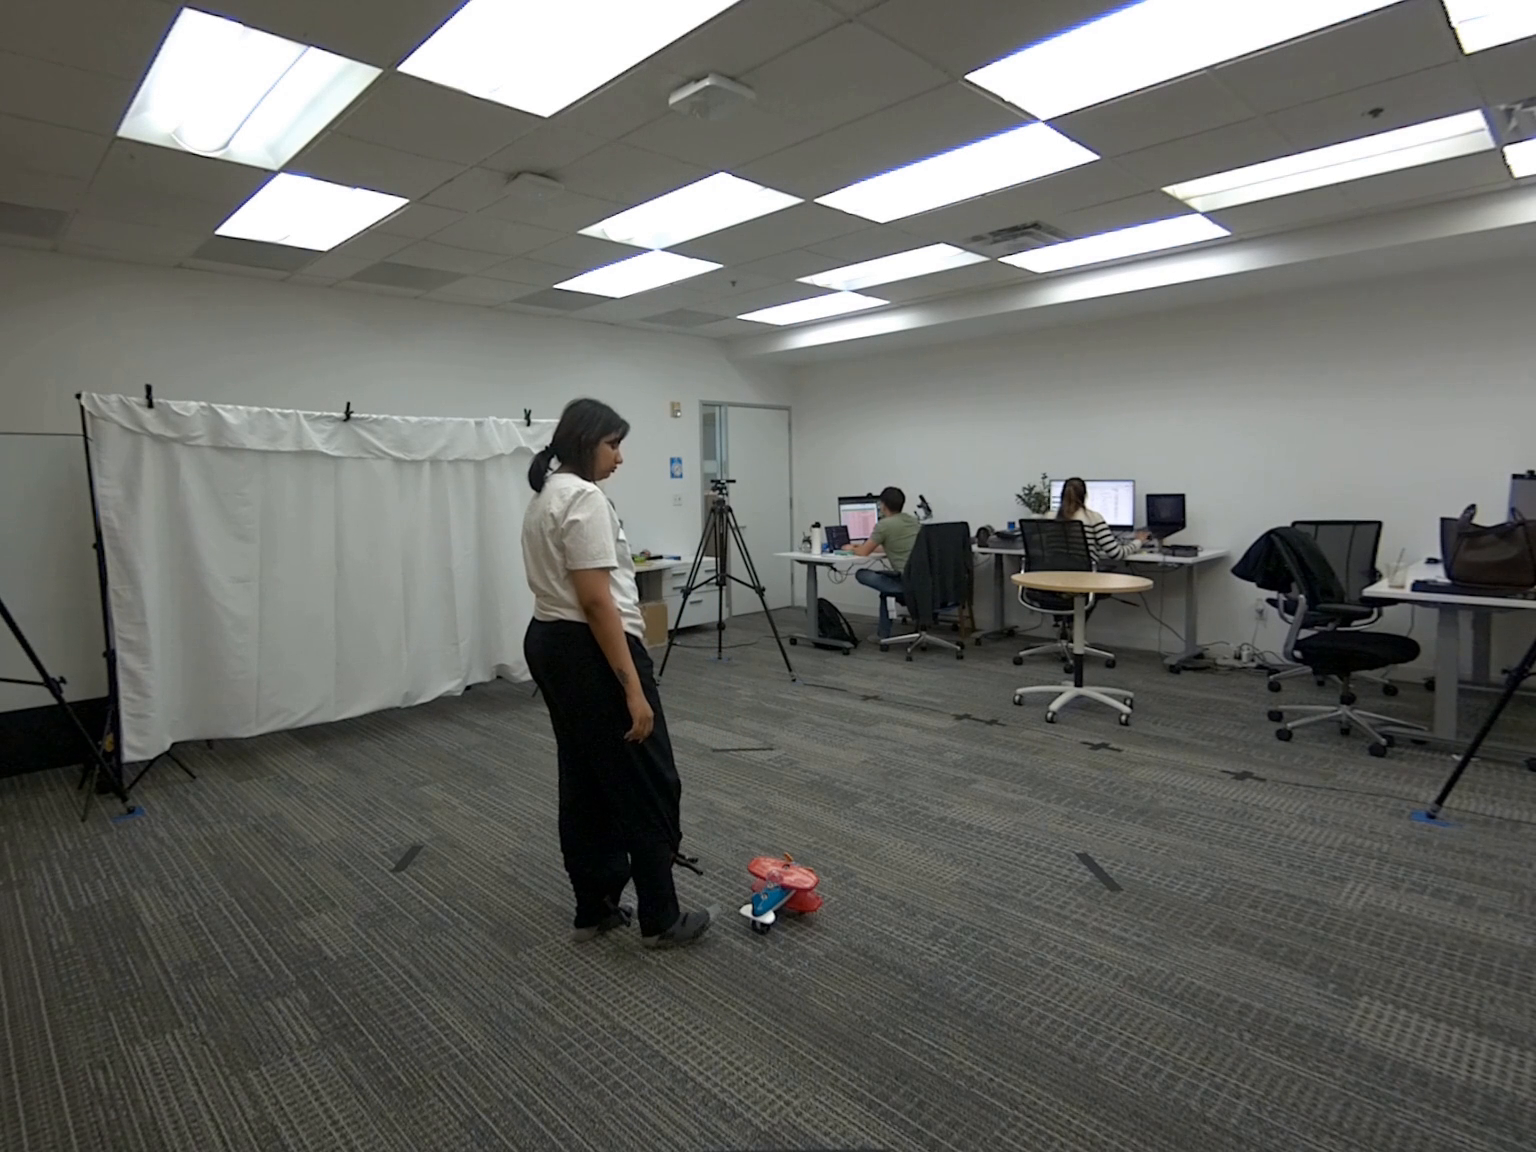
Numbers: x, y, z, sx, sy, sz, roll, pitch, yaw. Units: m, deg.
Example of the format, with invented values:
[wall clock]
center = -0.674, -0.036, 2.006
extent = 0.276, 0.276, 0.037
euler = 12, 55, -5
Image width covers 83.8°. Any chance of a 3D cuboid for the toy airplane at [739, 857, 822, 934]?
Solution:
[toy airplane]
center = 0.053, 1.017, 2.706
extent = 0.253, 0.156, 0.258
euler = 0, 5, 9
